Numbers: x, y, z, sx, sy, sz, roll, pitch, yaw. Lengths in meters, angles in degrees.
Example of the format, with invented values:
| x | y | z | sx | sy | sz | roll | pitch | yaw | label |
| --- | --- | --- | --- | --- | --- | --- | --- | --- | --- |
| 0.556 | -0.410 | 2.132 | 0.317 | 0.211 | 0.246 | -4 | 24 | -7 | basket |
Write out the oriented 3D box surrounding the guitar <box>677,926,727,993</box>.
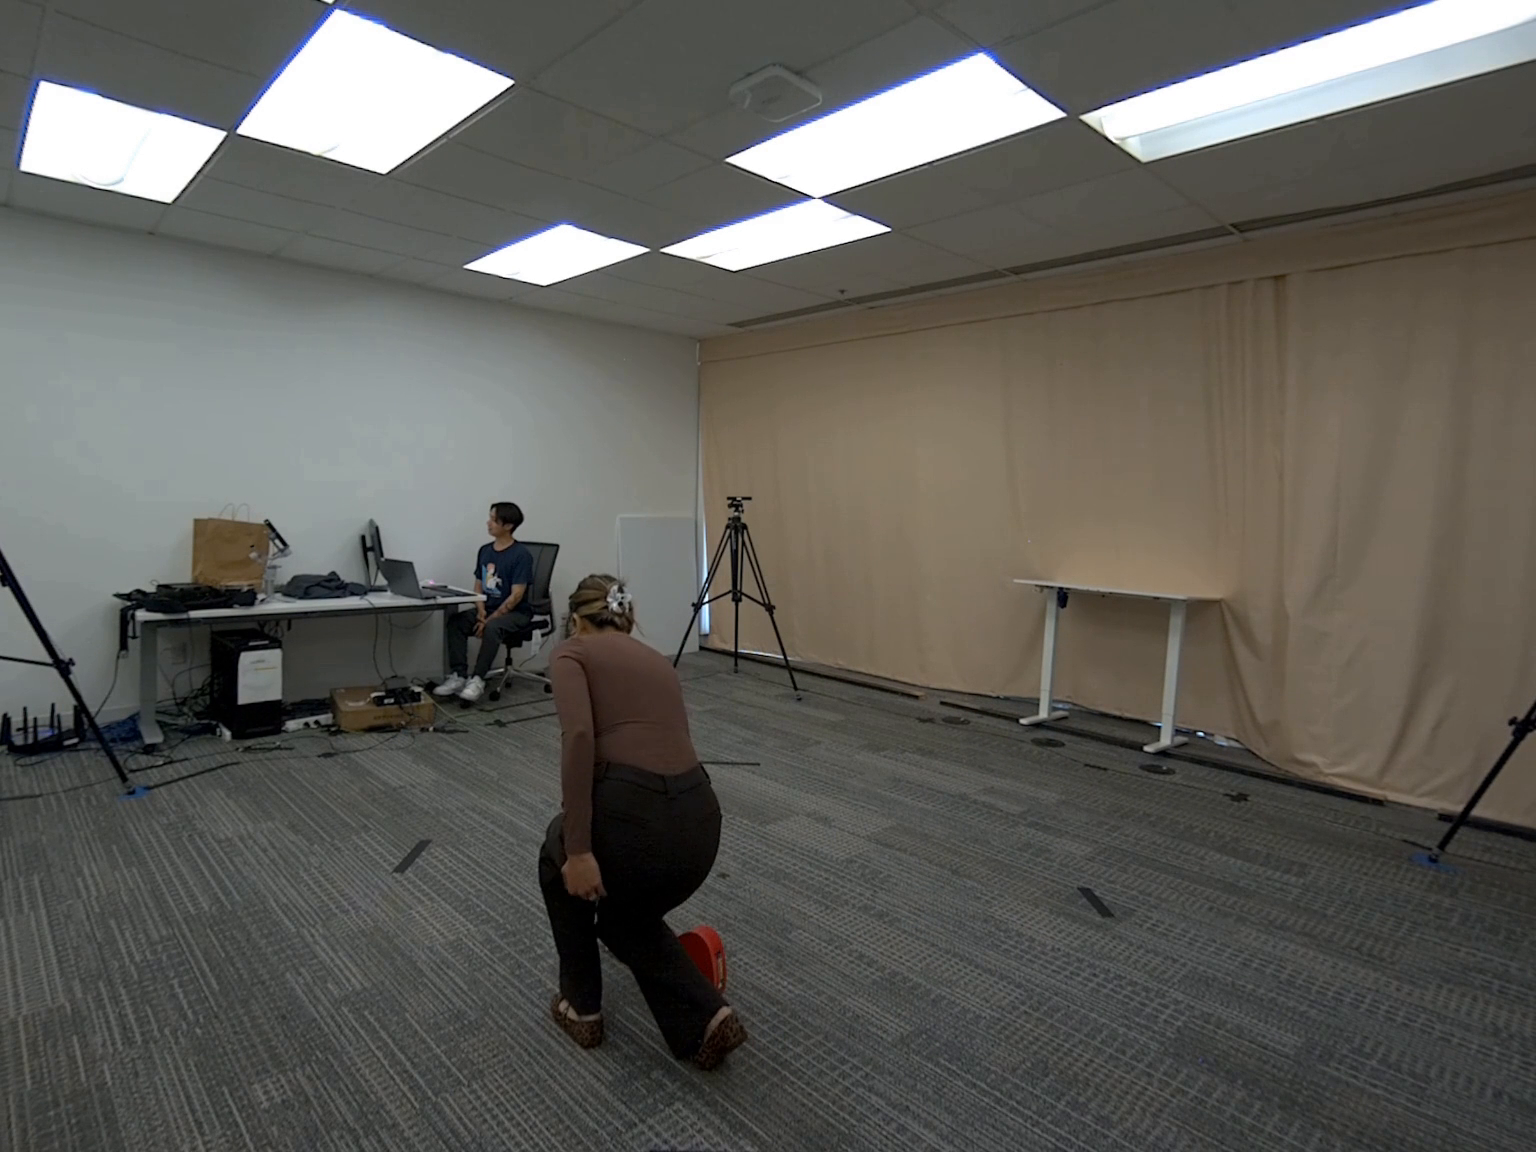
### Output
| x | y | z | sx | sy | sz | roll | pitch | yaw | label |
| --- | --- | --- | --- | --- | --- | --- | --- | --- | --- |
| -0.330 | 1.127 | 2.429 | 0.505 | 0.194 | 0.069 | -18 | -11 | 36 | guitar |
